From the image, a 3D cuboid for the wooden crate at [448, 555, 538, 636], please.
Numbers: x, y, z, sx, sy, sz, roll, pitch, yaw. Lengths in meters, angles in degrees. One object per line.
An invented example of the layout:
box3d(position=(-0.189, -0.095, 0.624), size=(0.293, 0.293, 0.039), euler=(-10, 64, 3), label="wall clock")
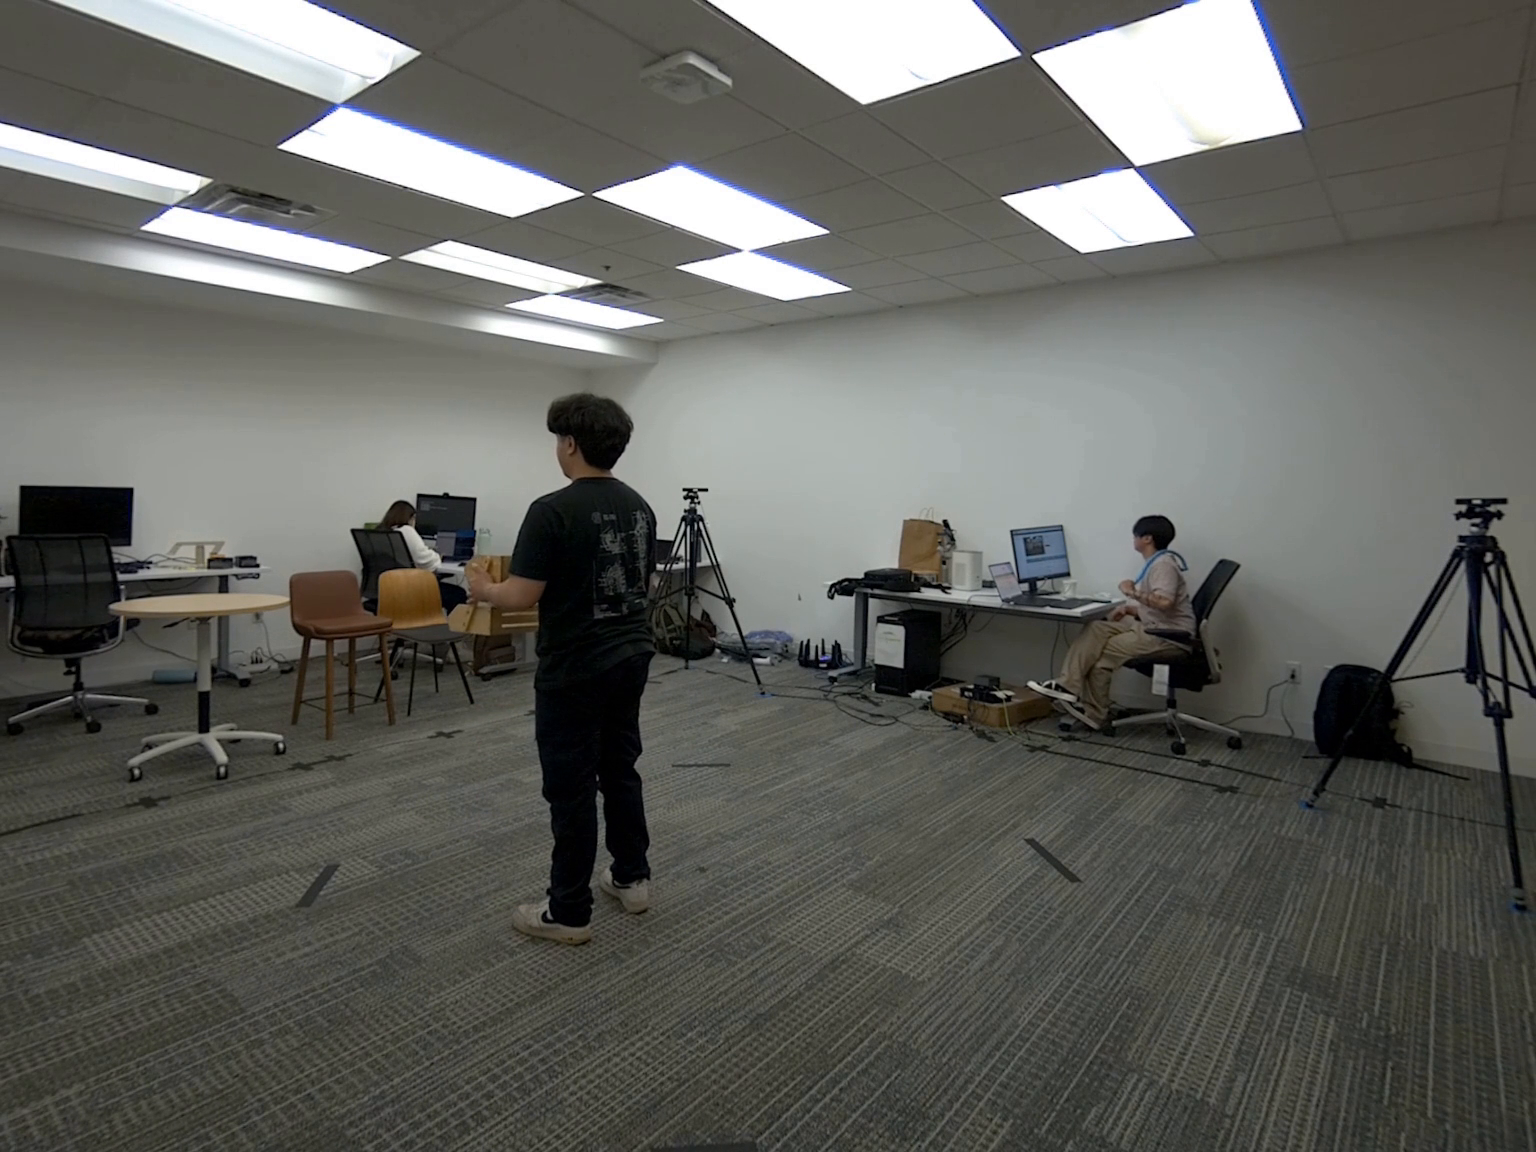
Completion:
box3d(position=(-0.905, 0.045, 2.935), size=(0.312, 0.273, 0.314), euler=(2, 2, 38), label="wooden crate")
